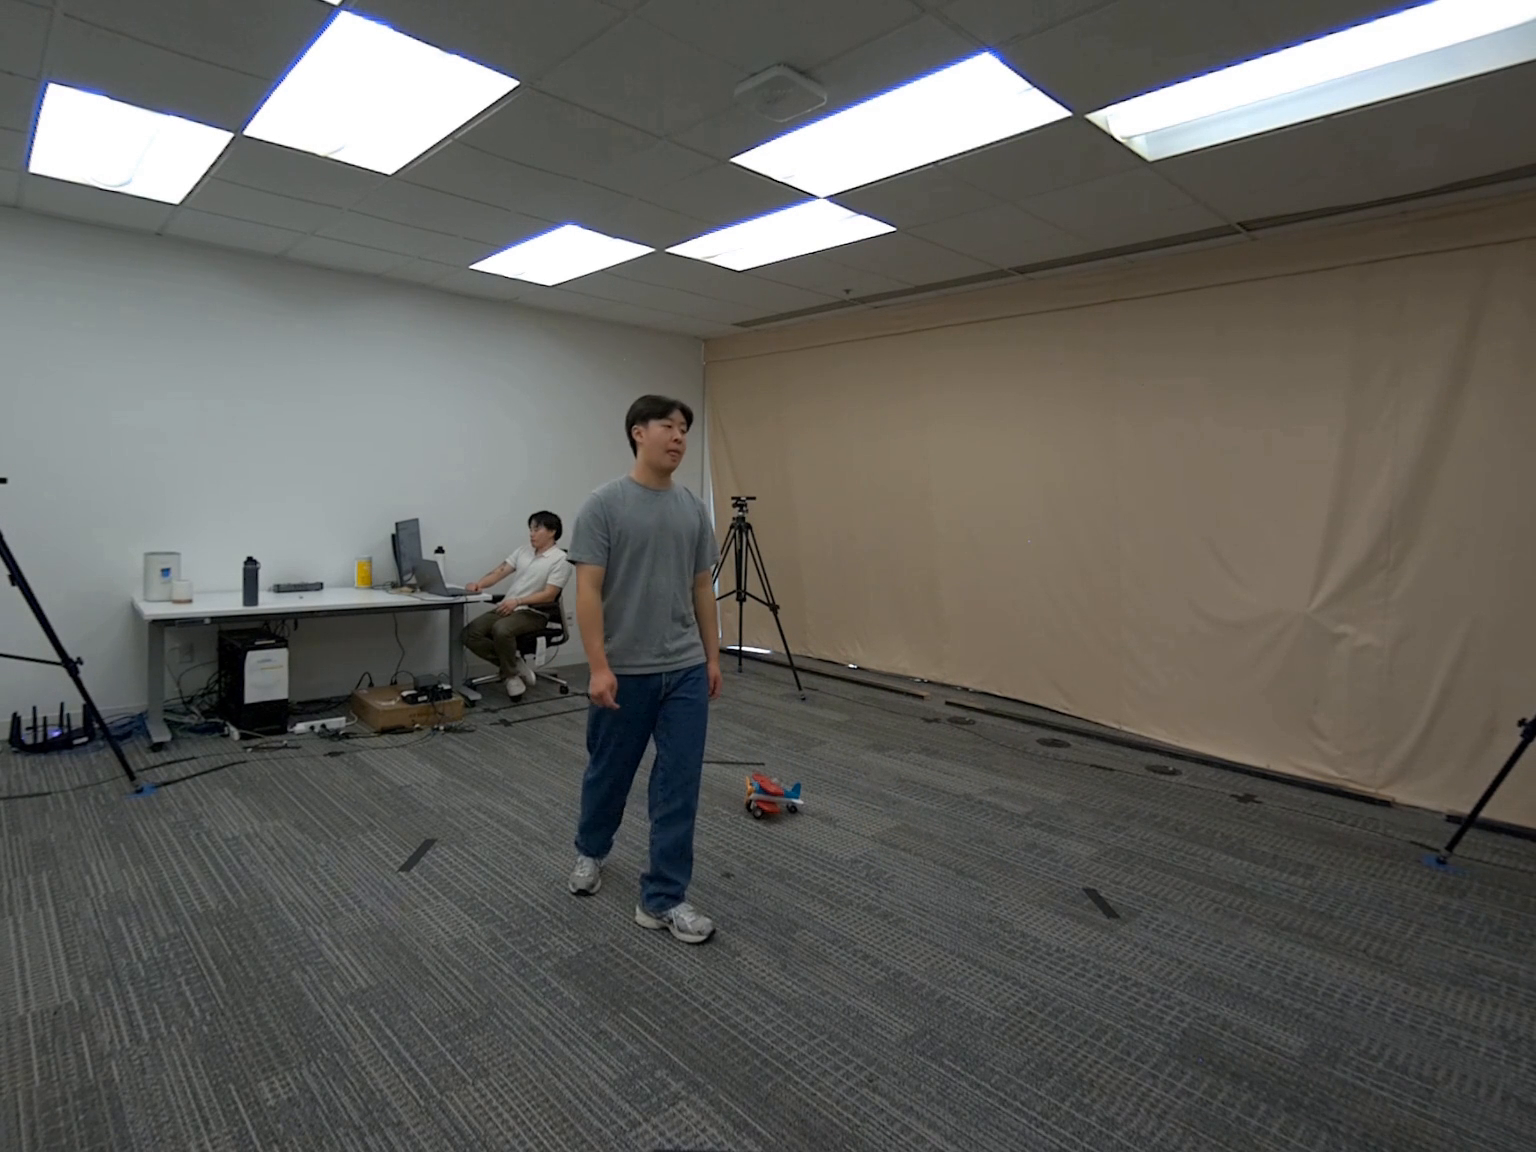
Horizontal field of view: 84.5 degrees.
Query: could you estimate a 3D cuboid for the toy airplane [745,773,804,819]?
[{"bbox_3d":[0.008,0.982,3.757,0.257,0.156,0.253,6,7,43],"label":"toy airplane"}]
